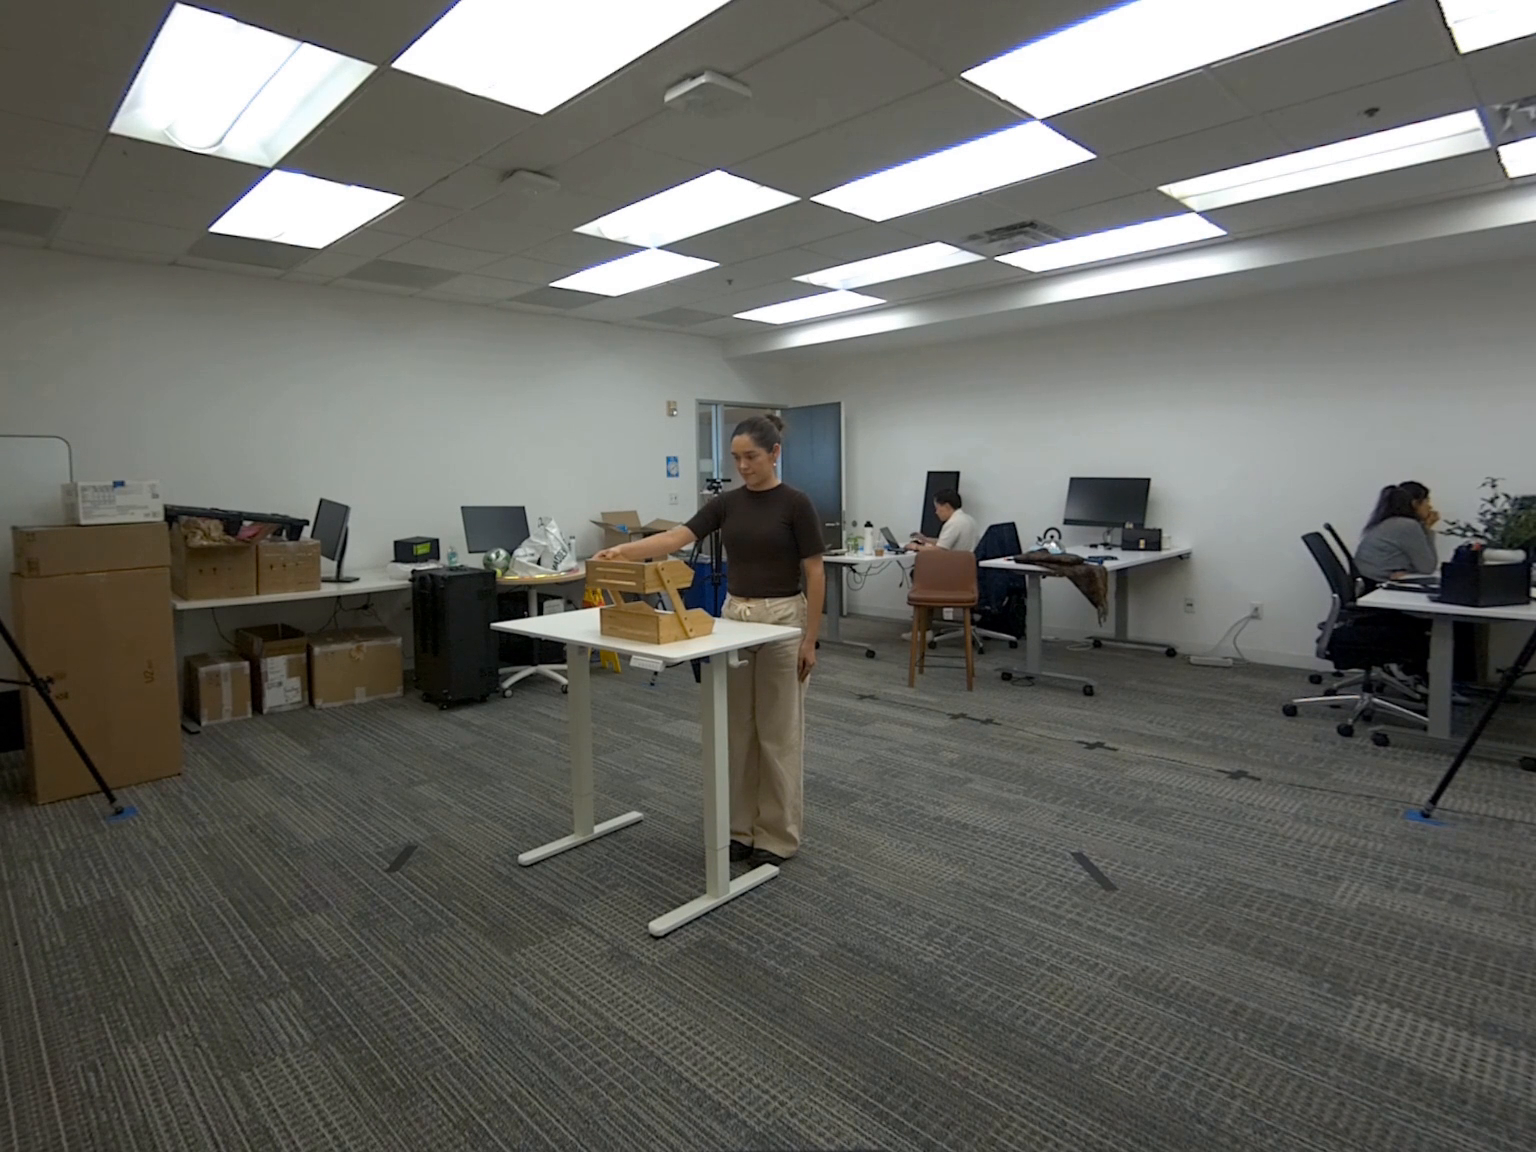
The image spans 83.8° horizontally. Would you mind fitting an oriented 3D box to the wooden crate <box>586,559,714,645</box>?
[{"bbox_3d":[-0.387,0.066,2.837,0.334,0.272,0.294,3,8,43],"label":"wooden crate"}]
